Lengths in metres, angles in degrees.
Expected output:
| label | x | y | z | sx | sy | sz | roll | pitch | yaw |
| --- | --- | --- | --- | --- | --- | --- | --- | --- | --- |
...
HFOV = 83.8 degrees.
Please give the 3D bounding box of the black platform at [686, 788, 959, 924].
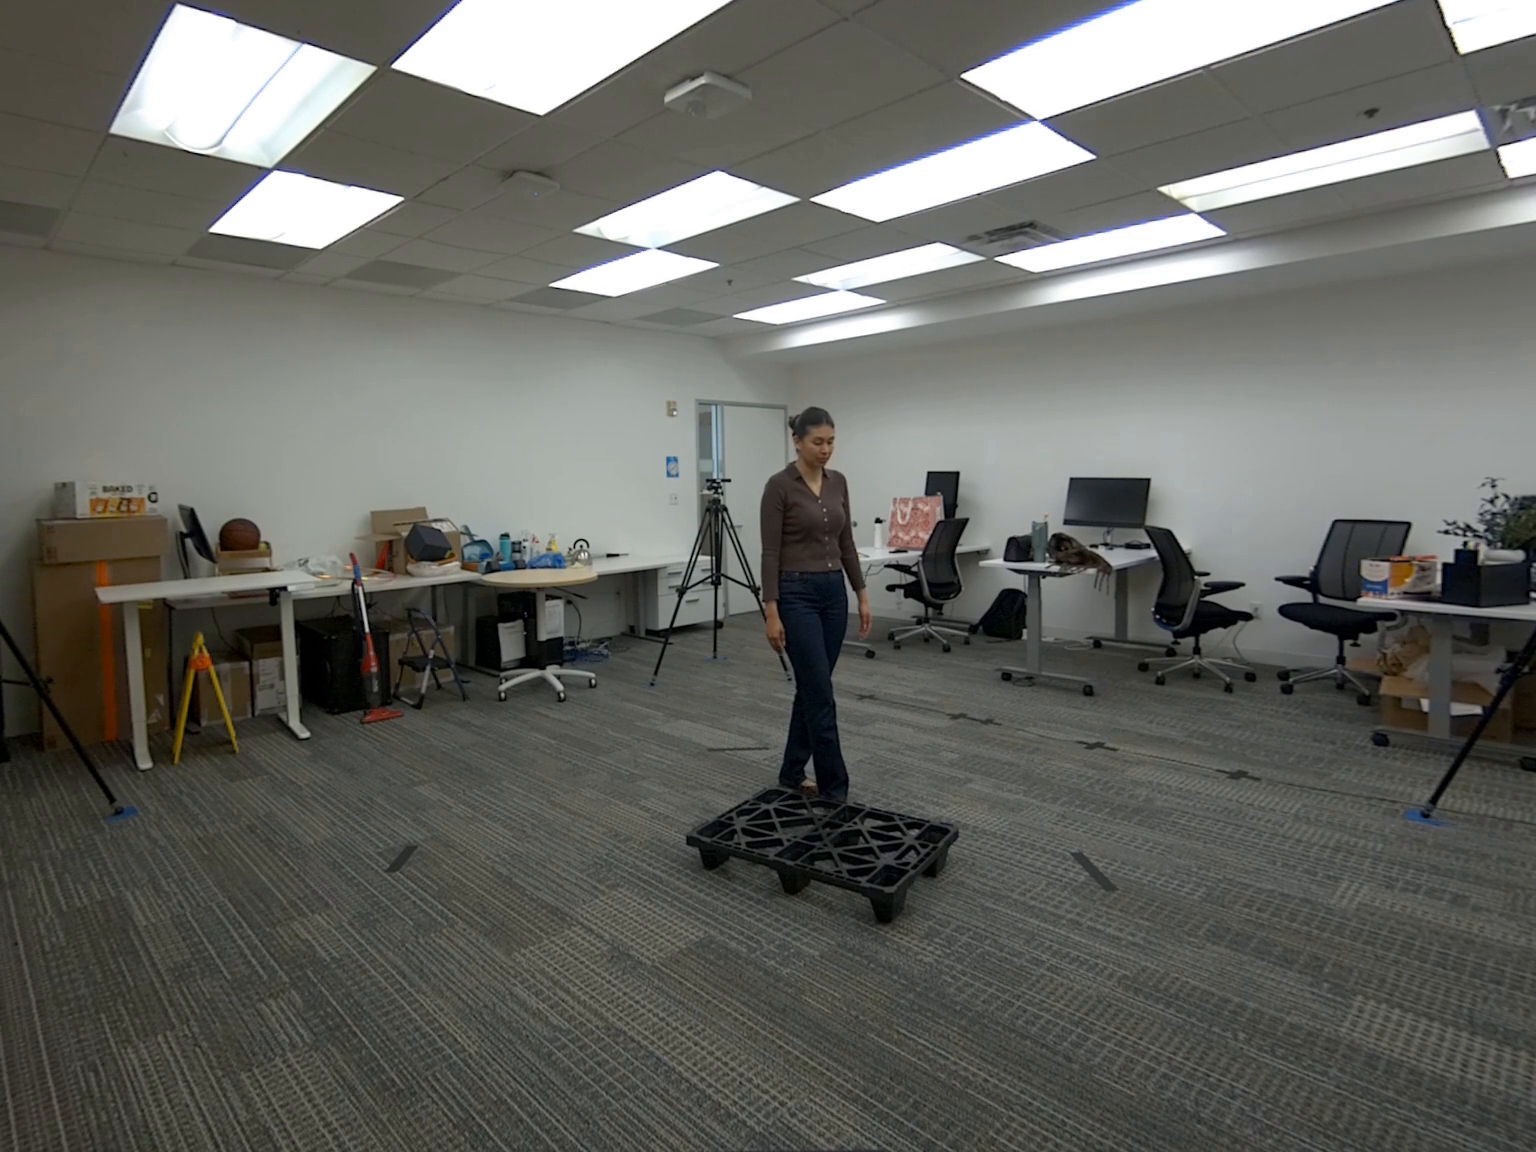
| label | x | y | z | sx | sy | sz | roll | pitch | yaw |
| --- | --- | --- | --- | --- | --- | --- | --- | --- | --- |
| black platform | 0.199 | 0.977 | 3.061 | 0.828 | 0.142 | 0.591 | 3 | 8 | 34 |
